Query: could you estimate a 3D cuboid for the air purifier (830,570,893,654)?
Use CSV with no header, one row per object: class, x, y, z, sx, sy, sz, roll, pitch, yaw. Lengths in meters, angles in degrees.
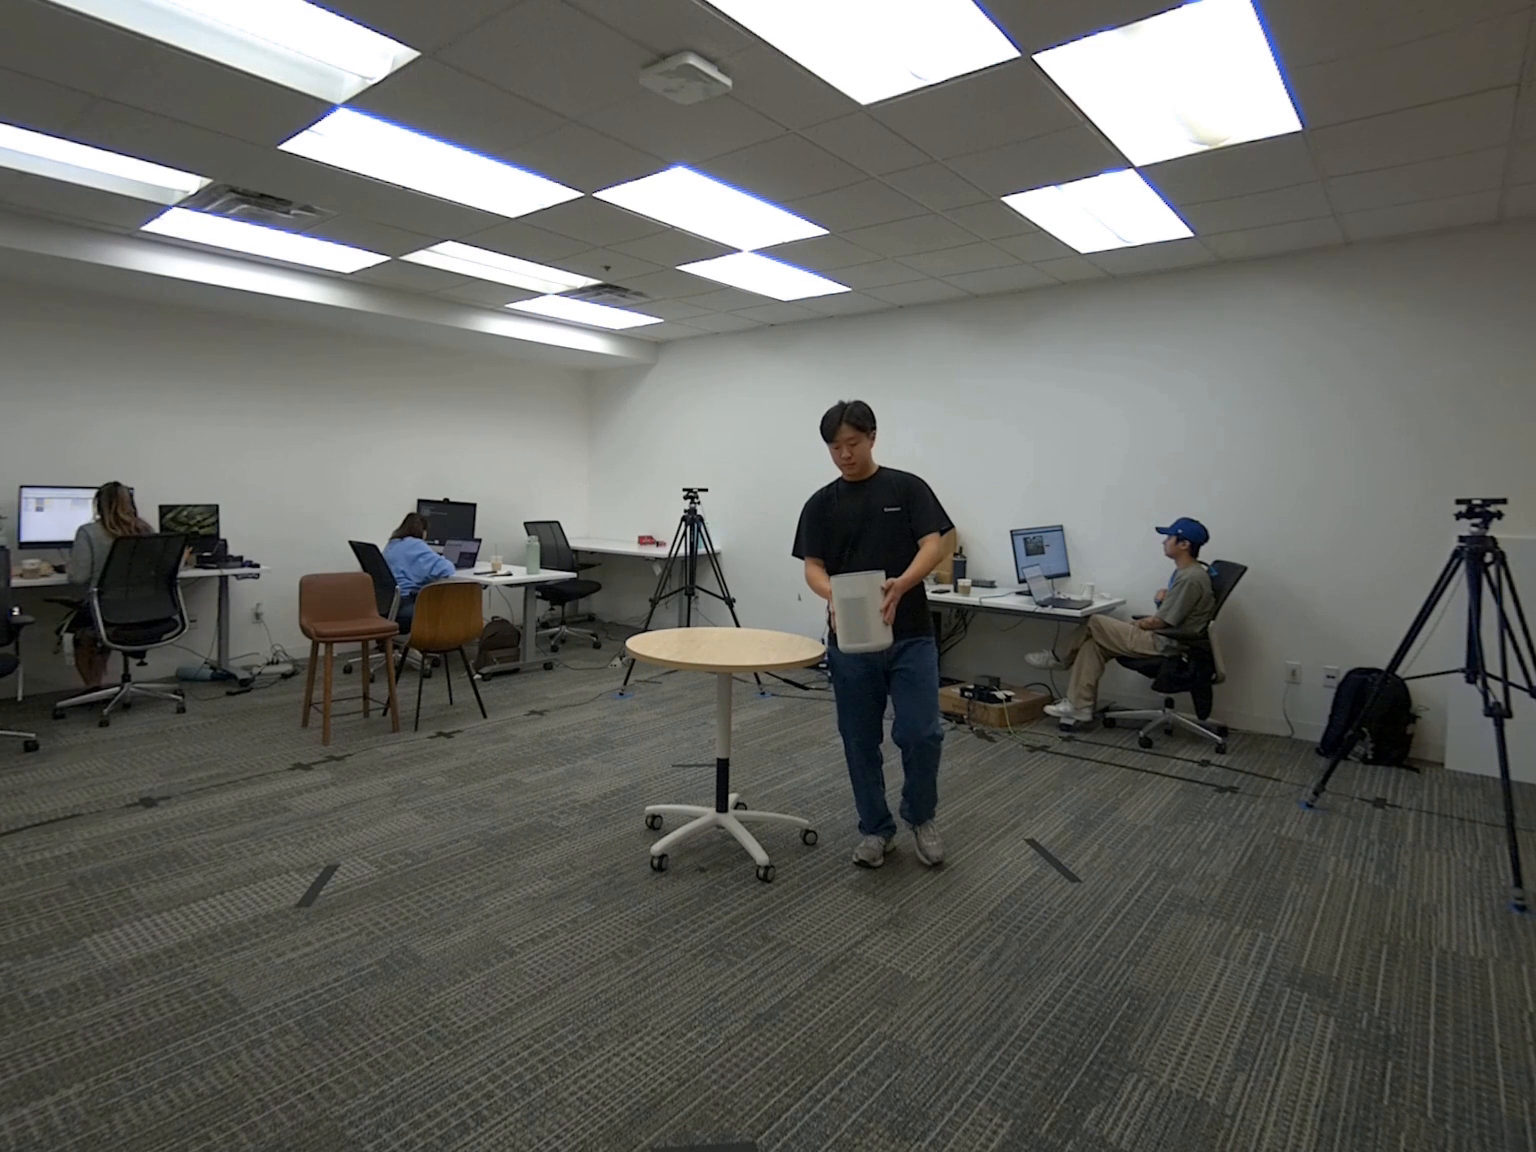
air purifier,0.316,0.119,2.903,0.175,0.266,0.167,-7,-2,23
